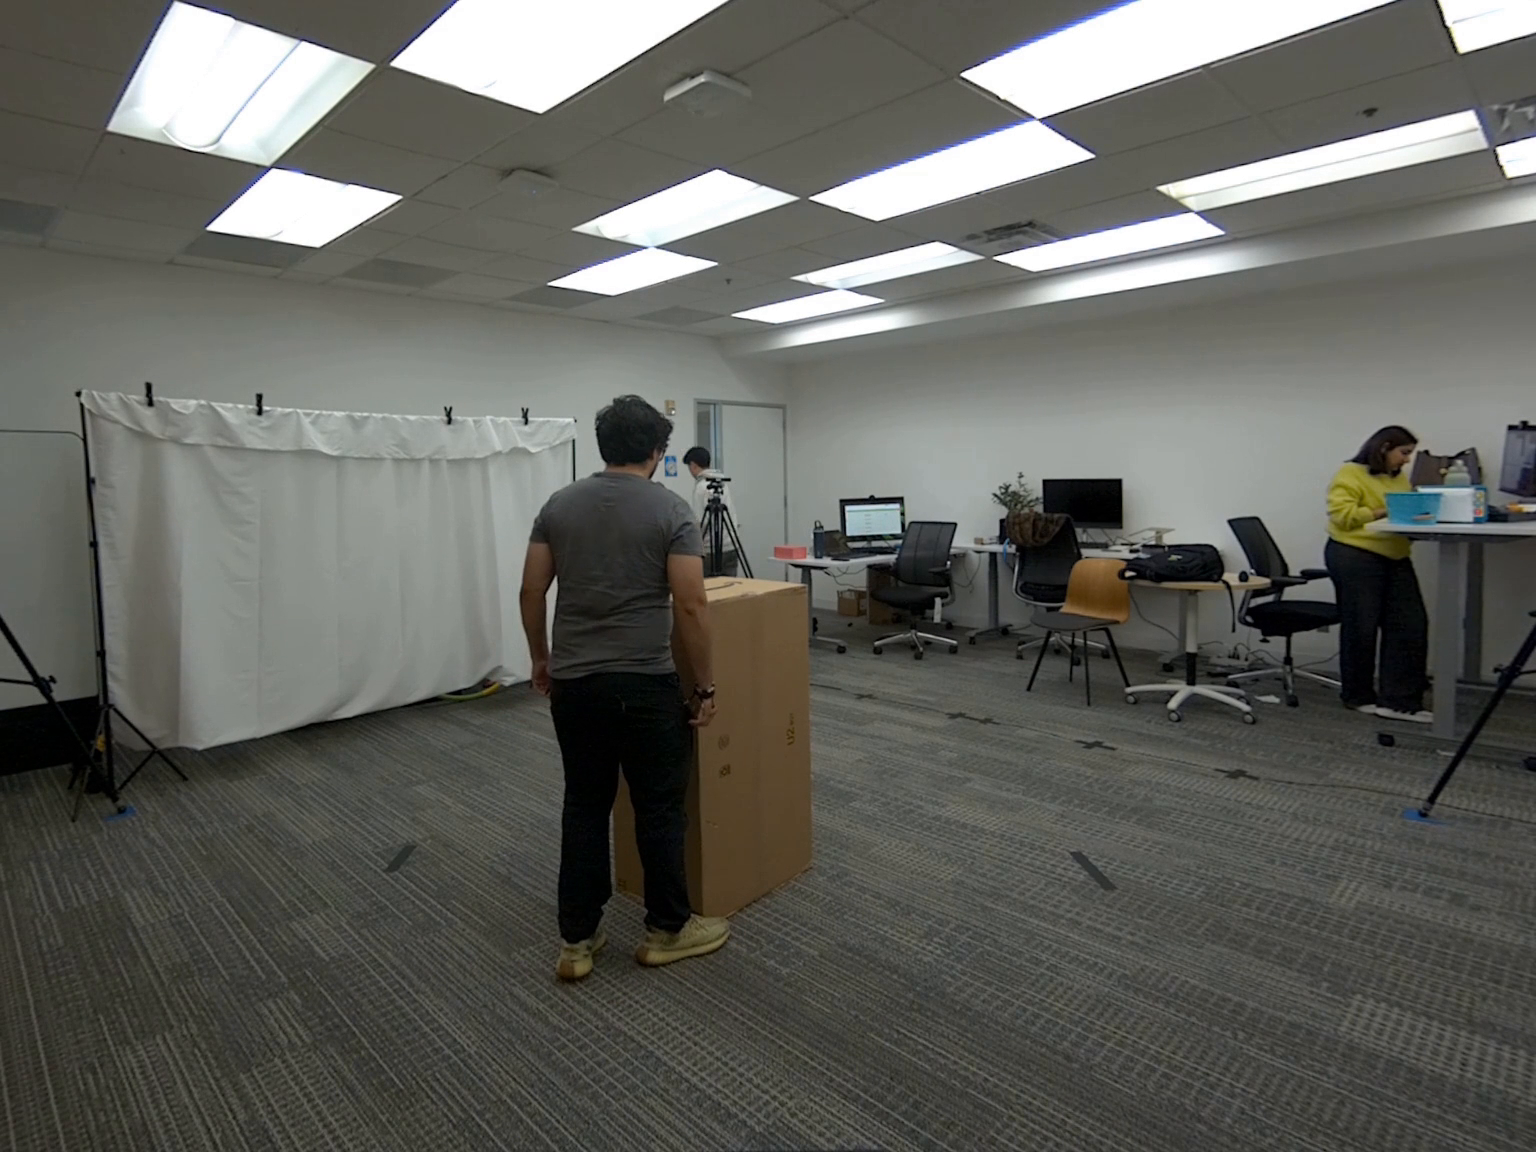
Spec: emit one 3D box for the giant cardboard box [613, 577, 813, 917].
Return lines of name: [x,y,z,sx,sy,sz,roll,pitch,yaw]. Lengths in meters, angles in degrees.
giant cardboard box: [-0.190,0.556,2.963,0.460,1.023,0.569,3,6,40]
